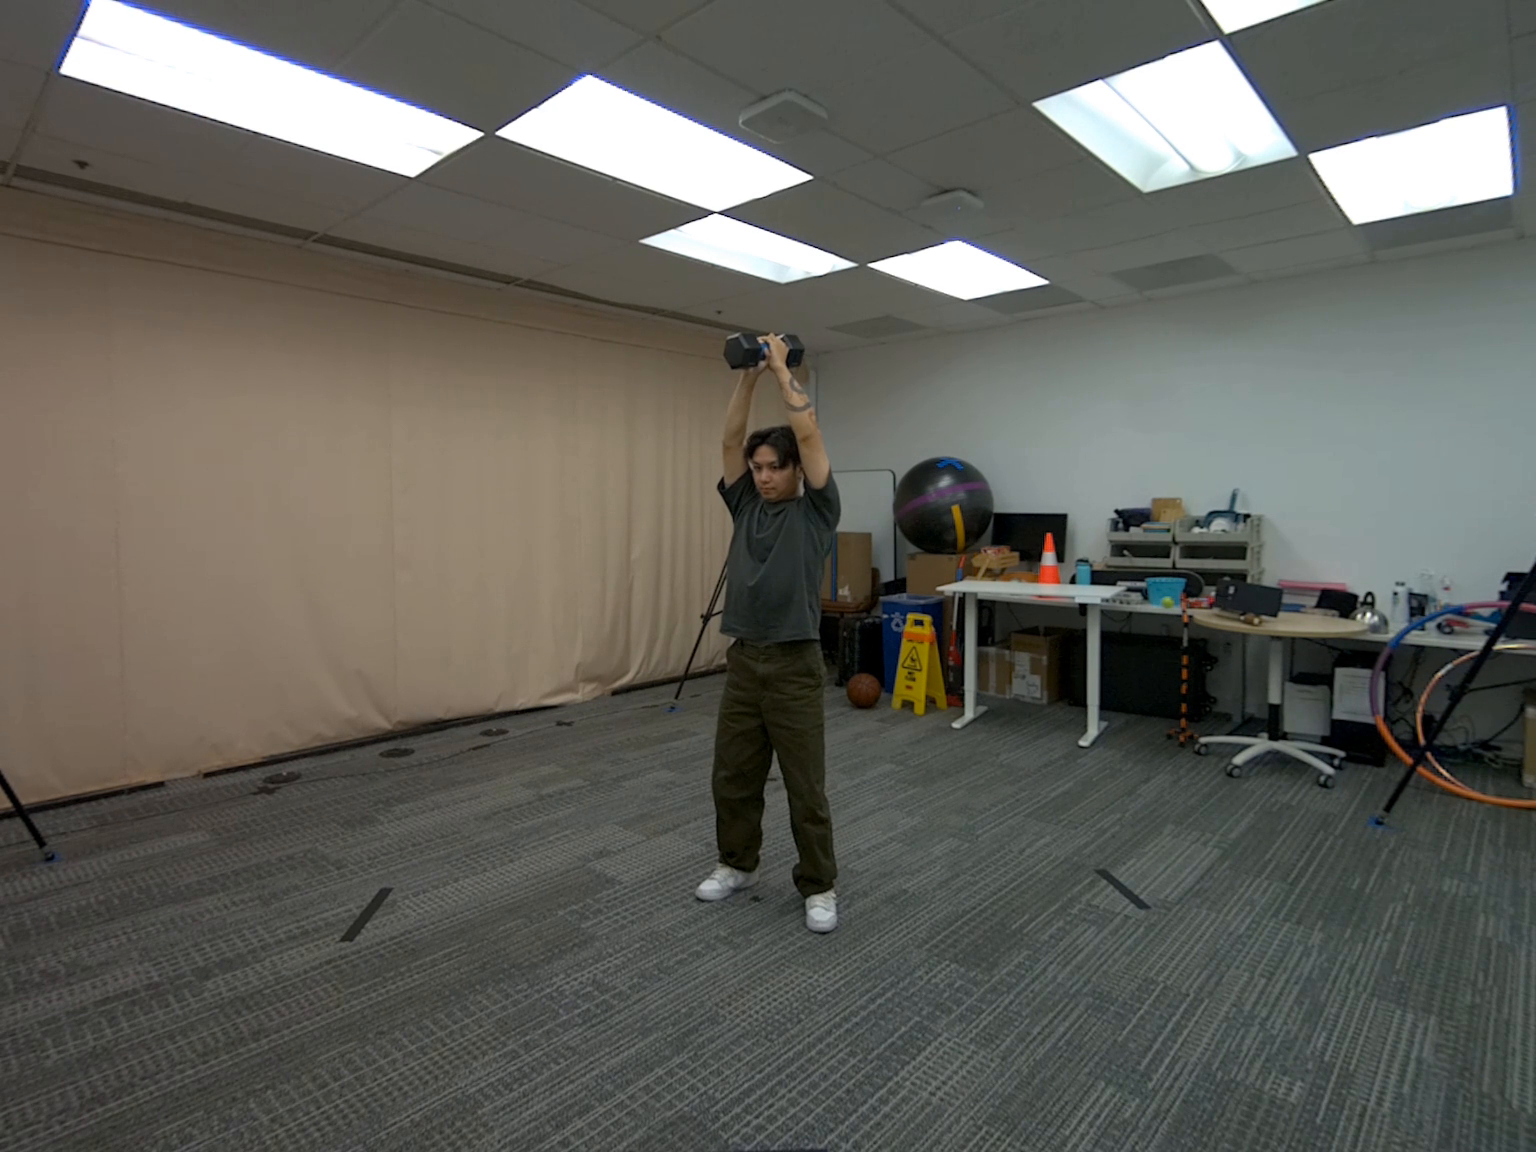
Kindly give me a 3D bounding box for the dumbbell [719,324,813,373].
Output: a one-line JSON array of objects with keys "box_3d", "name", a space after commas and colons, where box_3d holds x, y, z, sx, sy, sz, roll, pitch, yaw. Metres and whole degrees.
[{"box_3d": [-0.006, -0.750, 2.787, 0.286, 0.122, 0.112, -14, 39, -43], "name": "dumbbell"}]
